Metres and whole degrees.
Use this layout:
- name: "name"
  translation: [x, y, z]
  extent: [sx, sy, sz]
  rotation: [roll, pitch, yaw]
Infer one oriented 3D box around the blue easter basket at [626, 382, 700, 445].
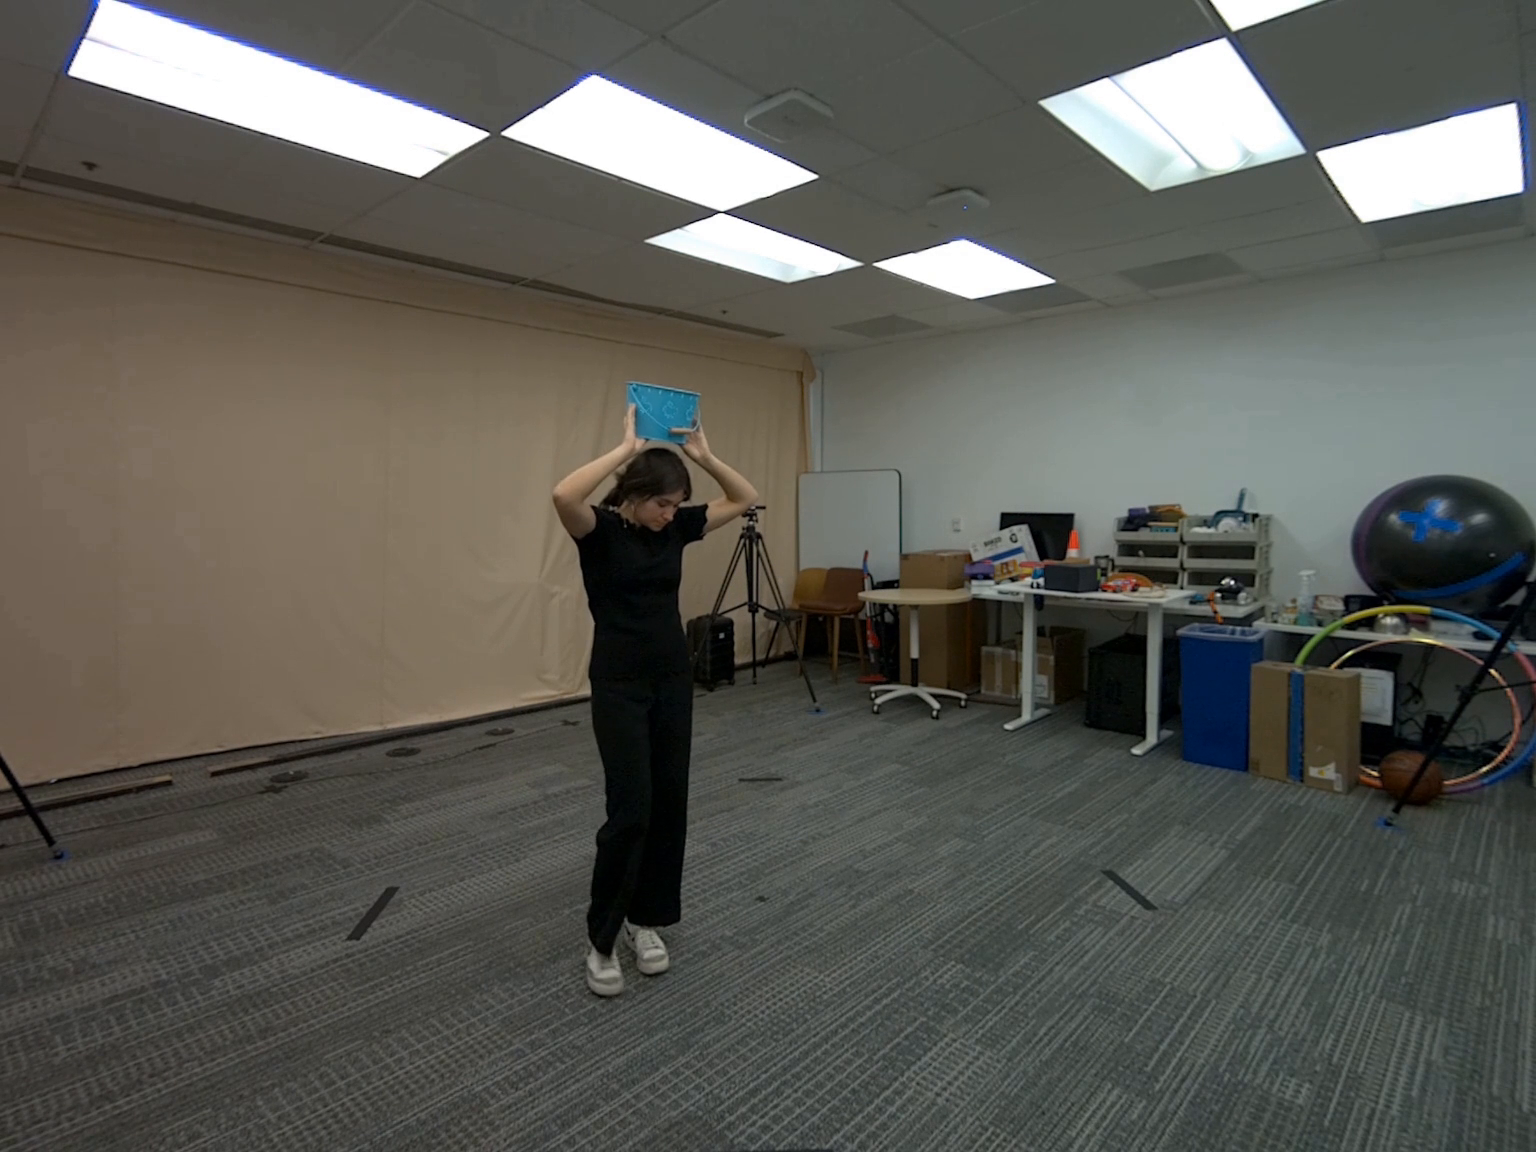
- name: "blue easter basket"
  translation: [-0.330, -0.486, 2.499]
  extent: [0.243, 0.155, 0.245]
  rotation: [9, 8, -3]
